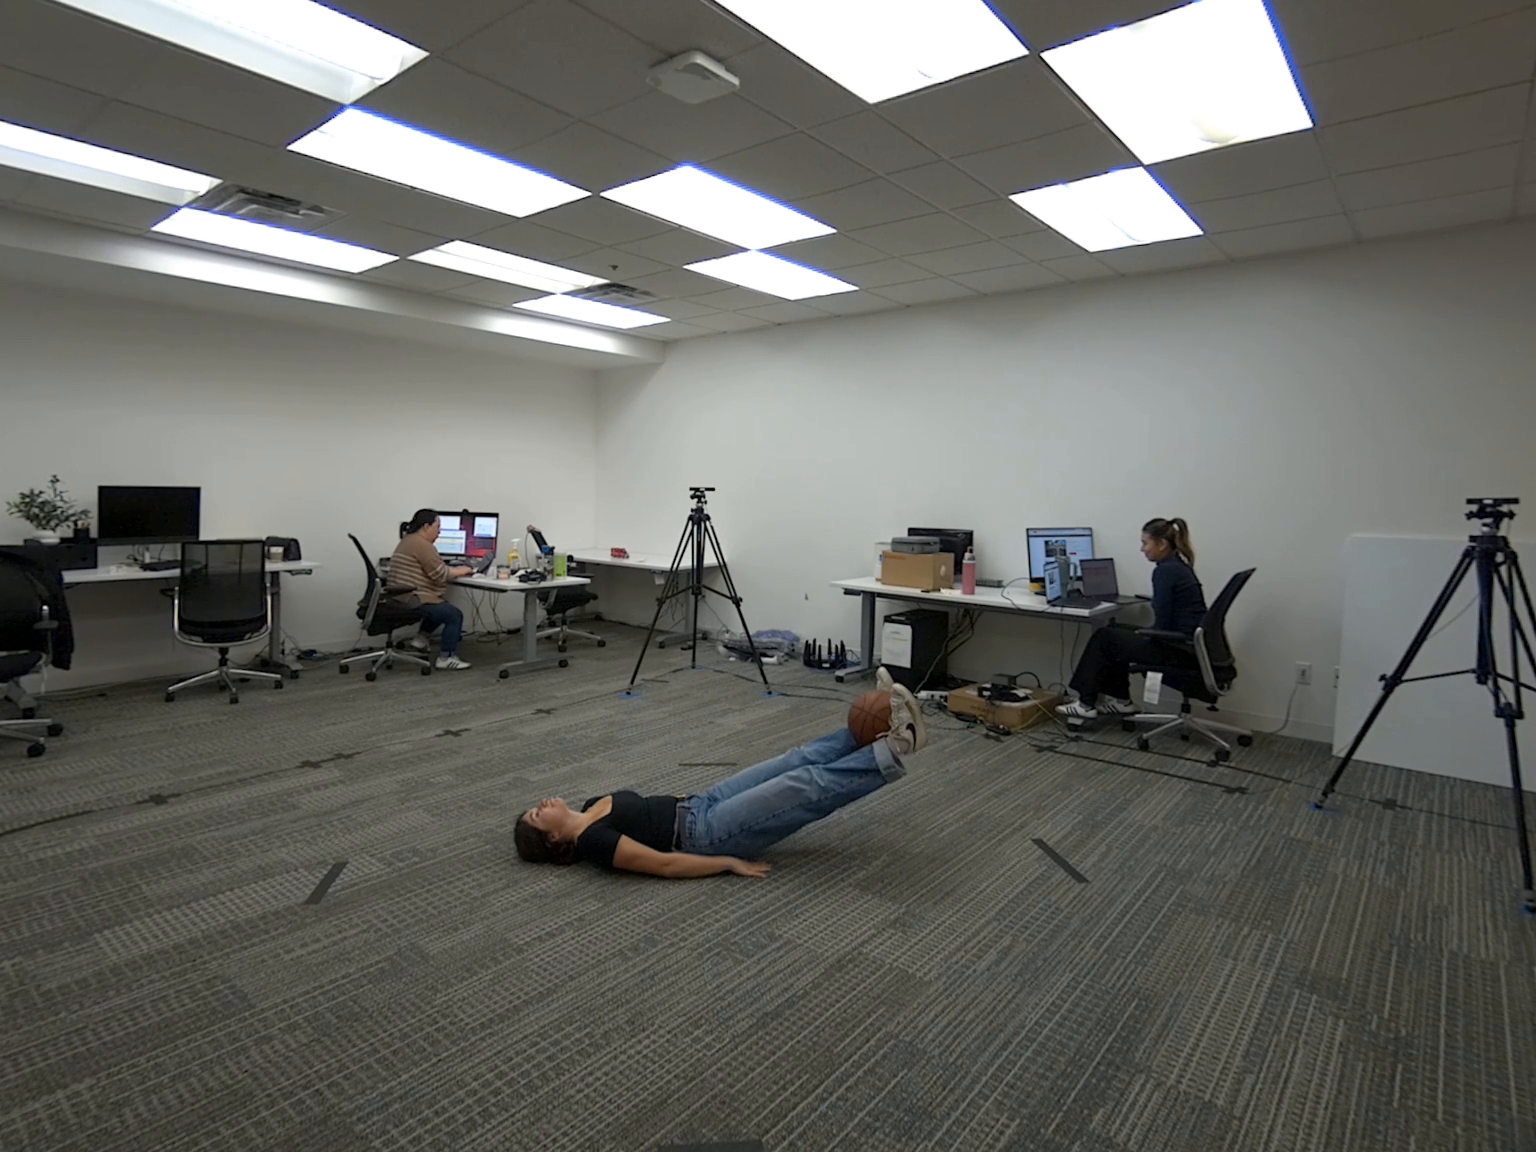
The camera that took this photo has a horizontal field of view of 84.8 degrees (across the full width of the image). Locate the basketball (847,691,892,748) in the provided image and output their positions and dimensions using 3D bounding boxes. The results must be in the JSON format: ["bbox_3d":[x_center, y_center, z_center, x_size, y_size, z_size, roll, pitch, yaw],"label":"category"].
[{"bbox_3d":[0.422,0.563,3.292,0.235,0.235,0.237,1,4,-2],"label":"basketball"}]
